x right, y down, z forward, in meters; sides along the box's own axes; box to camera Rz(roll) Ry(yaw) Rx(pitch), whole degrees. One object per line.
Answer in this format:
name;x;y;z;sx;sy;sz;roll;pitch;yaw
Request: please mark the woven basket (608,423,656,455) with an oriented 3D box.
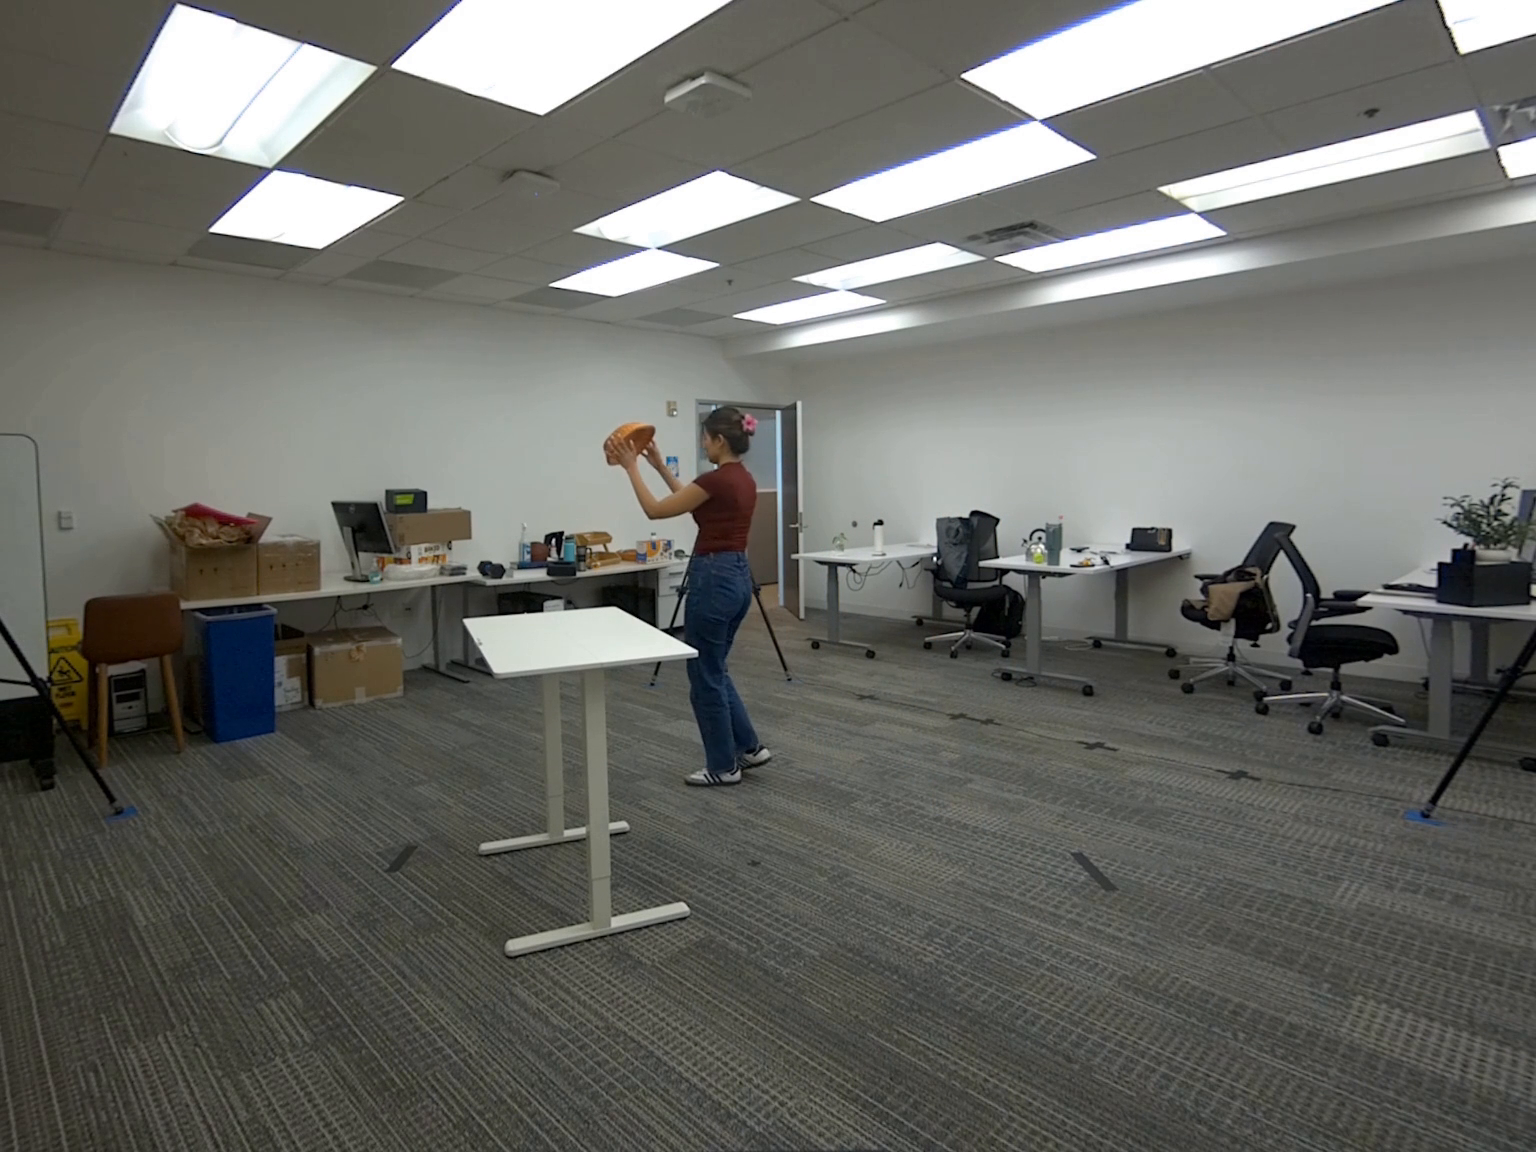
woven basket;-0.659;-0.637;4.019;0.252;0.074;0.347;-47;-6;18
